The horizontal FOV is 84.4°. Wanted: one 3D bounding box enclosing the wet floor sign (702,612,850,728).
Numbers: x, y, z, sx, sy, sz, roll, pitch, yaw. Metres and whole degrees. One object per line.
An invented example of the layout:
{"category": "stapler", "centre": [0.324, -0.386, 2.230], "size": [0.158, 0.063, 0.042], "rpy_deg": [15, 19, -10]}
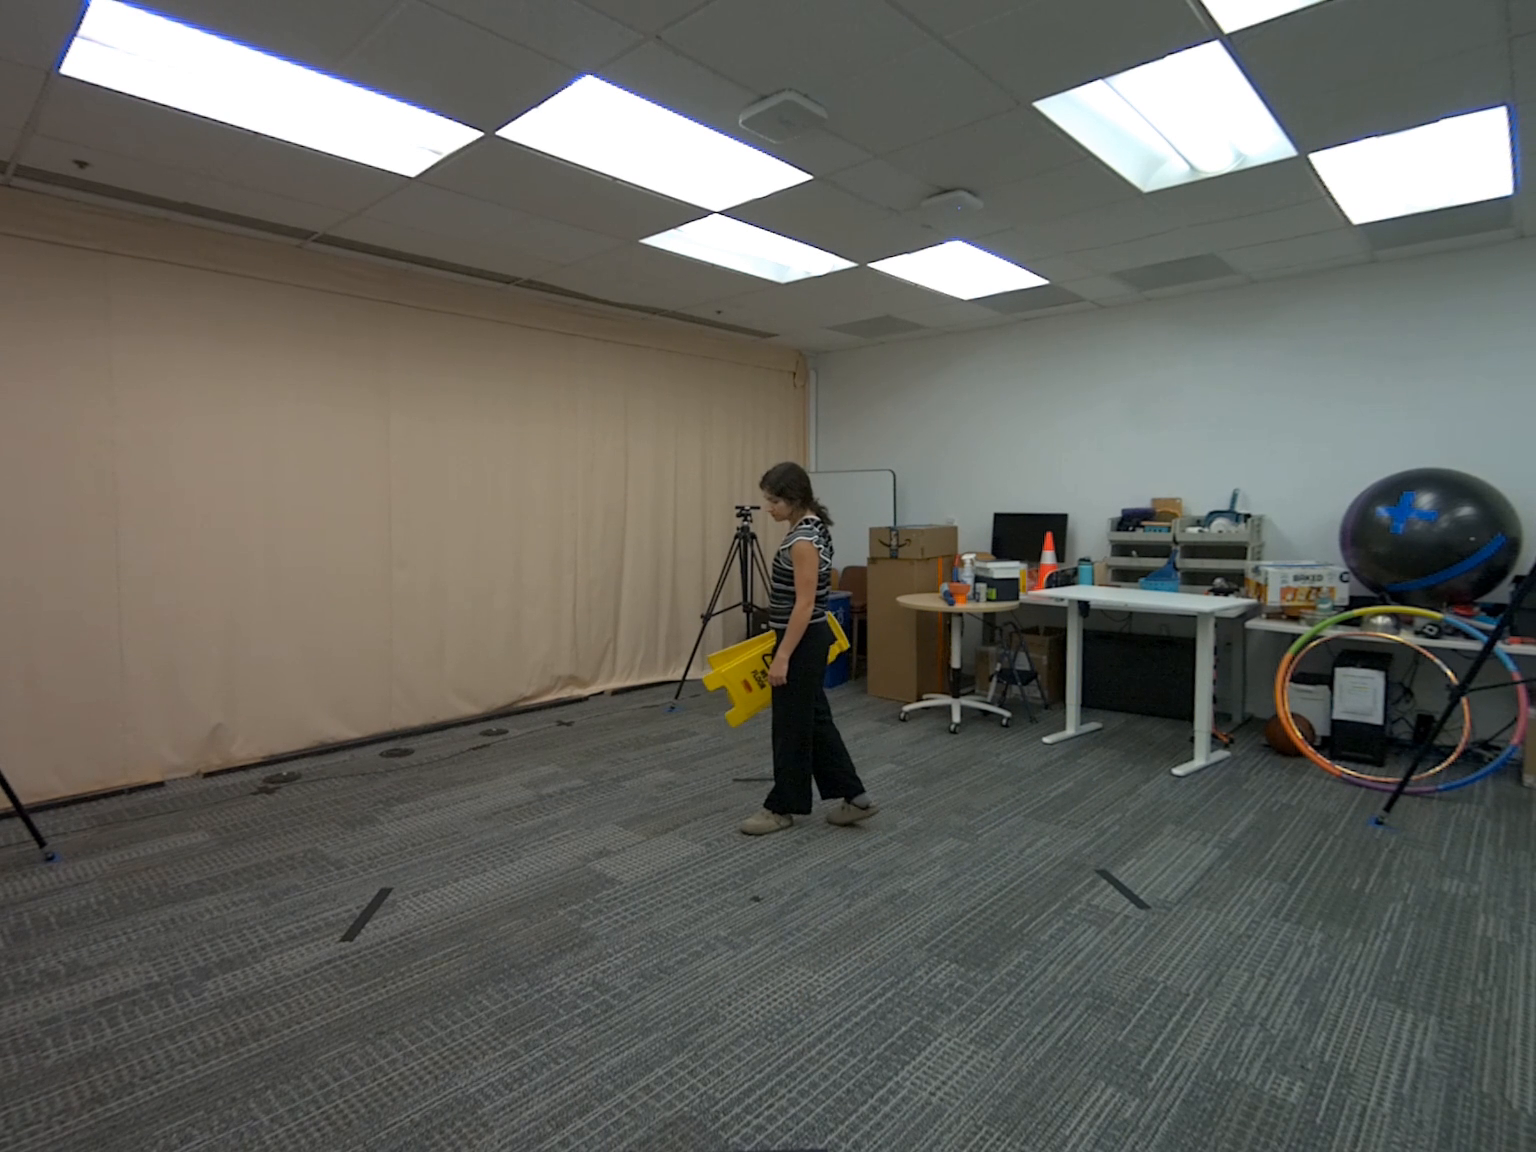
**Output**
{"category": "wet floor sign", "centre": [0.052, 0.396, 3.902], "size": [0.650, 0.279, 0.291], "rpy_deg": [-29, 11, 8]}
